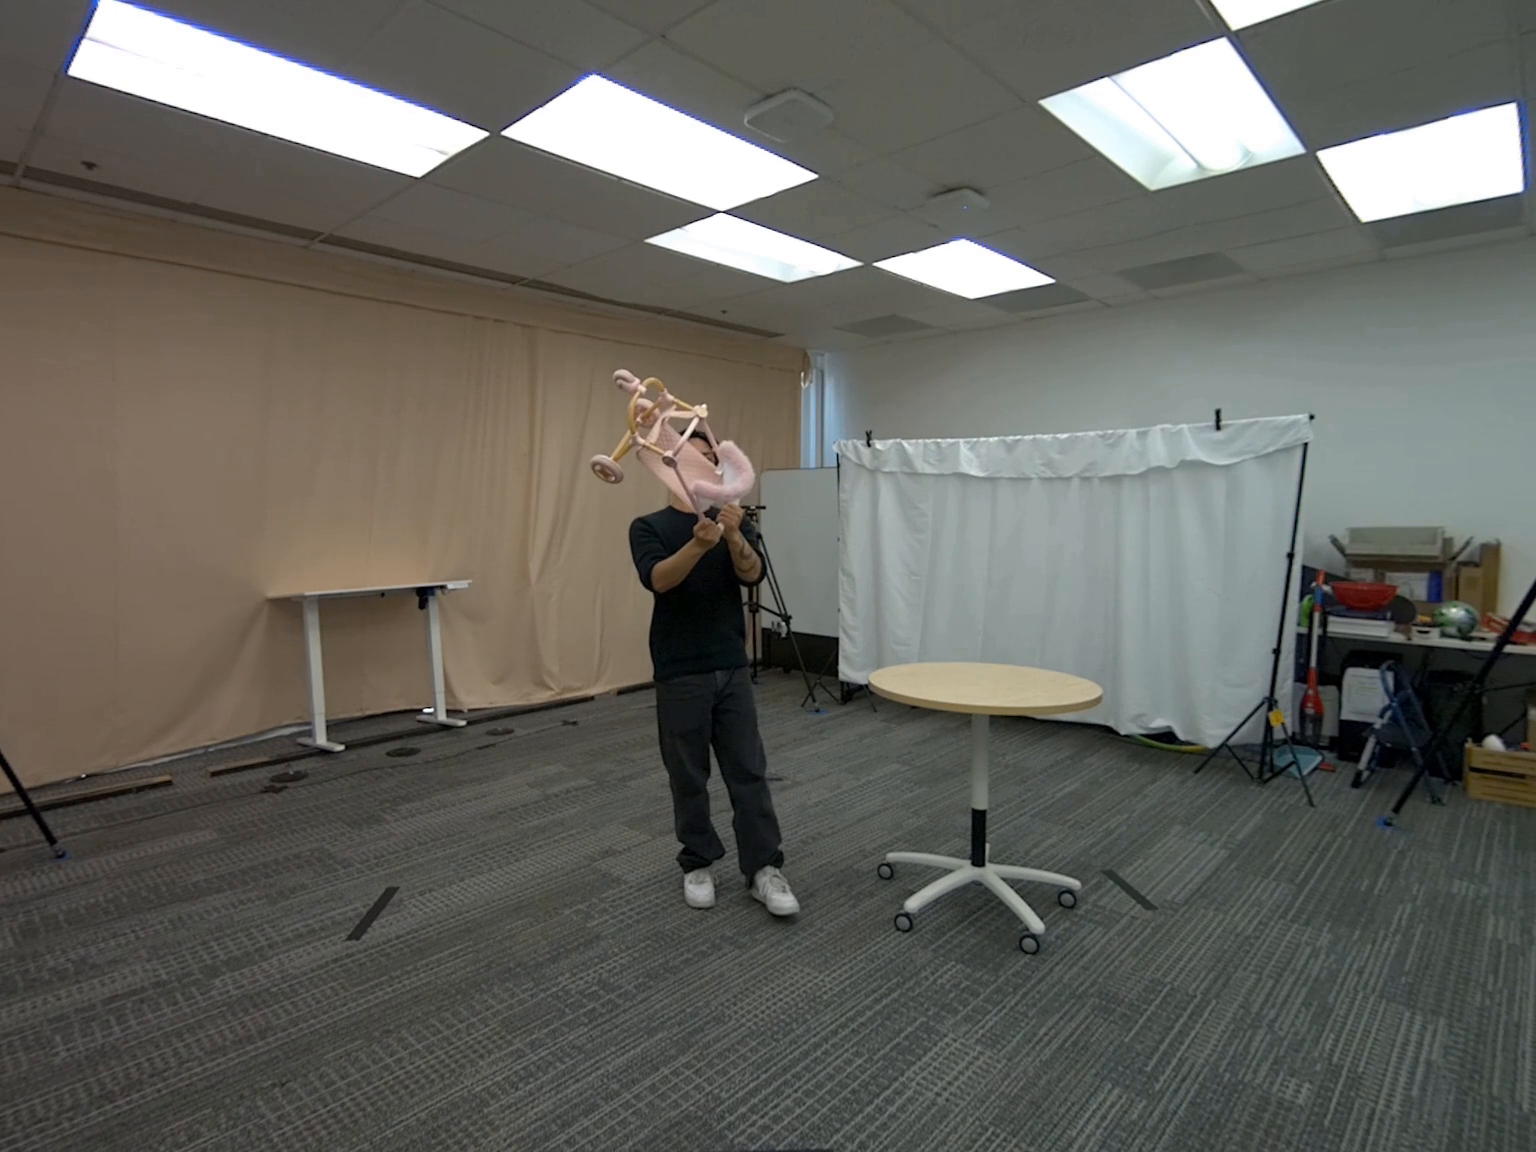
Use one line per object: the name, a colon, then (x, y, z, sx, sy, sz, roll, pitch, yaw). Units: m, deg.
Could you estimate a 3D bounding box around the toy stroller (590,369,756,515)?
toy stroller: (-0.260, -0.373, 2.497, 0.531, 0.282, 0.344, 34, -36, -7)
